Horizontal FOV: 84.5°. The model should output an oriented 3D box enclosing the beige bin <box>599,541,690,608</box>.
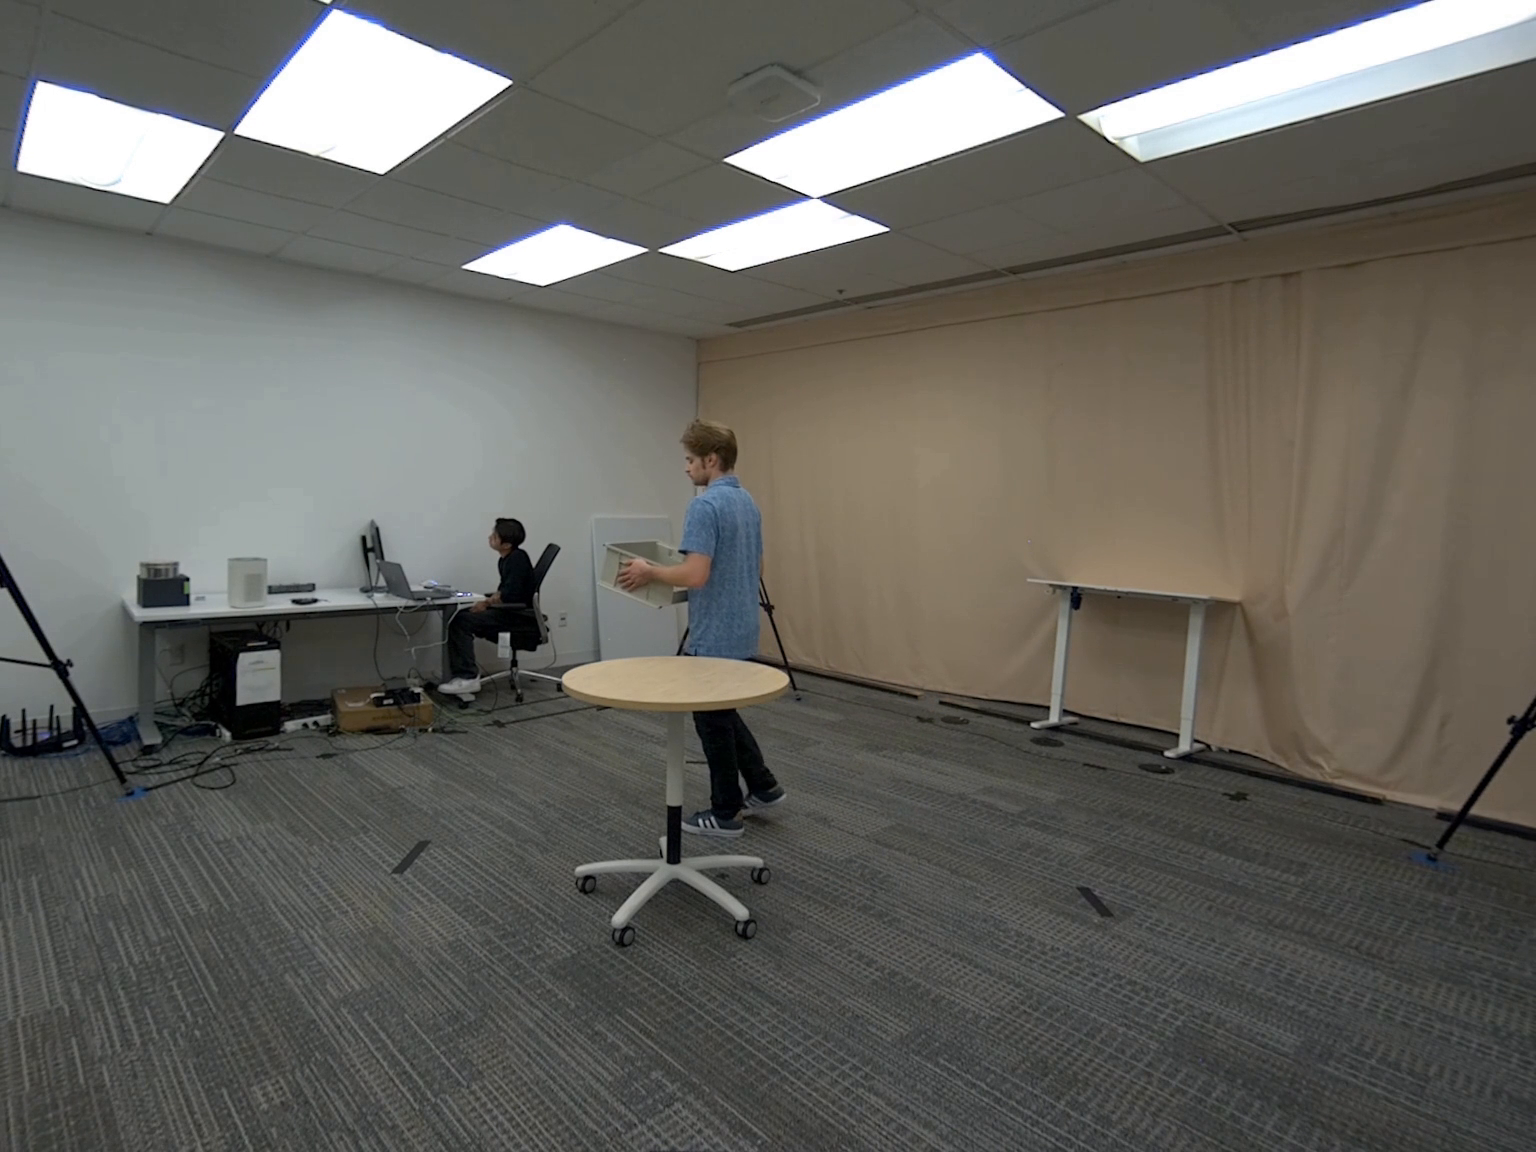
[{"bbox_3d":[-0.461,-0.012,3.638,0.385,0.188,0.416,17,11,22],"label":"beige bin"}]
